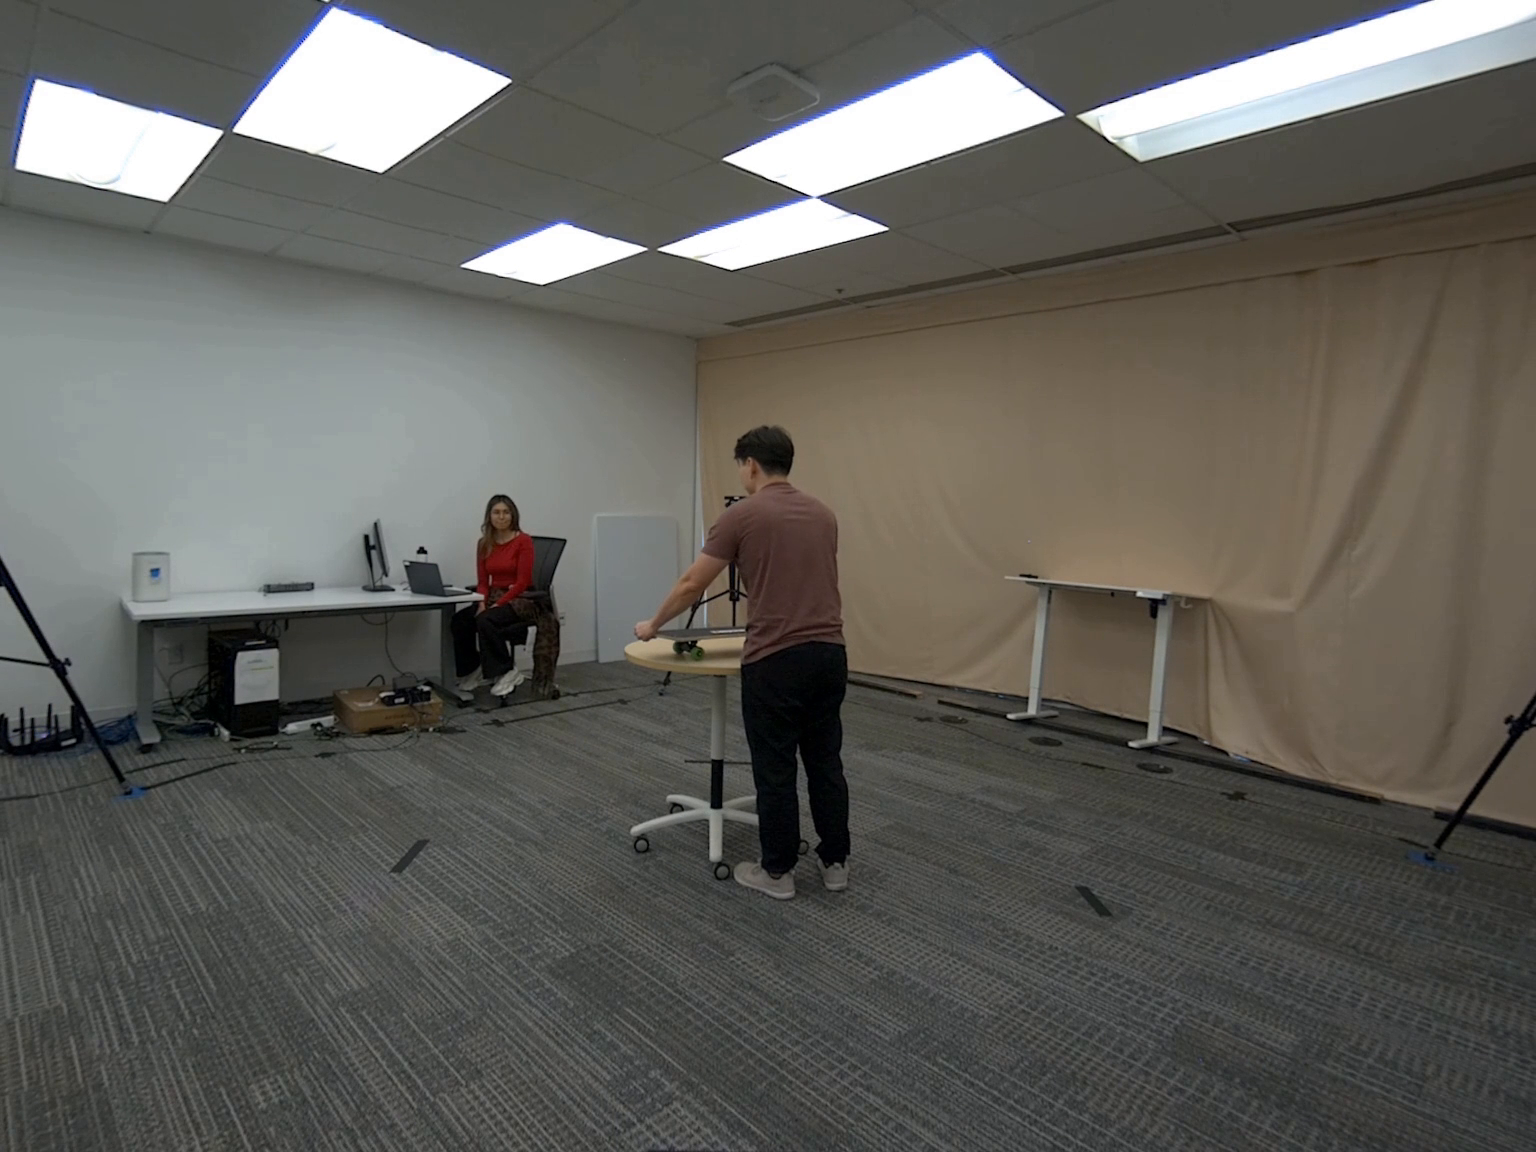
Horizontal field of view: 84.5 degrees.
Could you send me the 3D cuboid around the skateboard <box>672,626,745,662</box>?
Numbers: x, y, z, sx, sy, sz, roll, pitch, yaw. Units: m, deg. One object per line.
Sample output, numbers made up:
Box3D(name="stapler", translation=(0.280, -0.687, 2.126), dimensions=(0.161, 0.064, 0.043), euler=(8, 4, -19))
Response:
Box3D(name="skateboard", translation=(-0.139, 0.251, 3.277), dimensions=(0.770, 0.110, 0.198), euler=(0, 5, -29))
